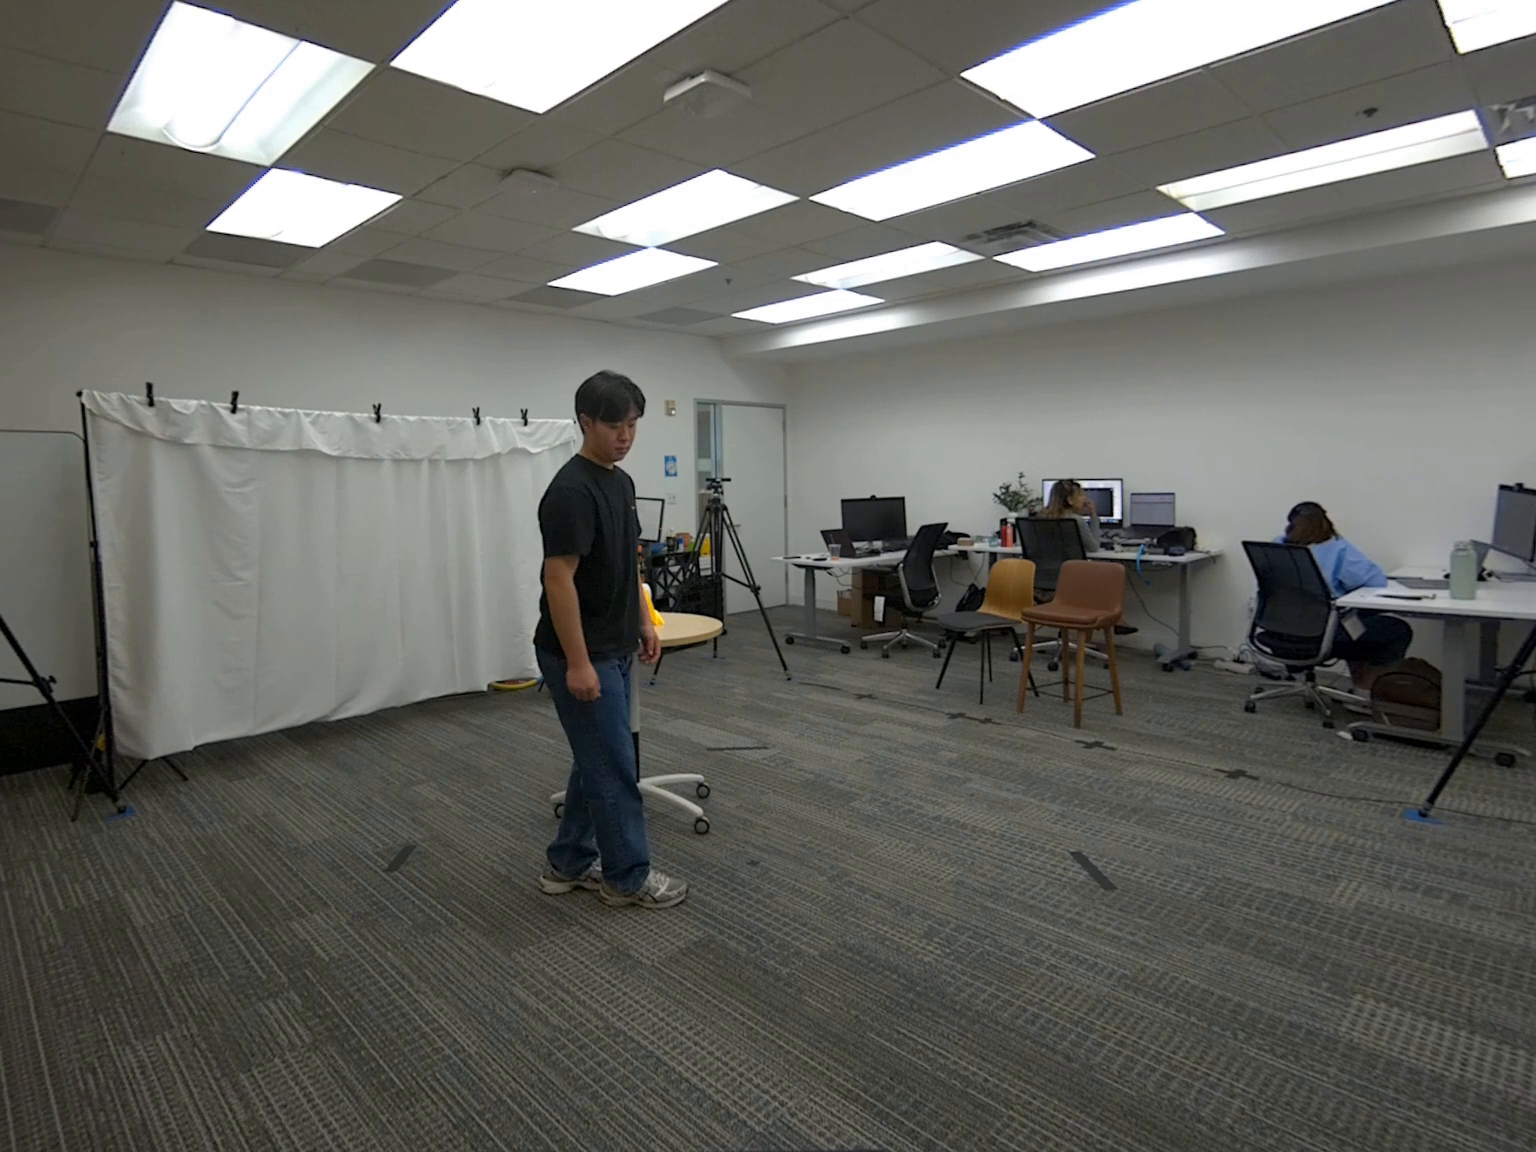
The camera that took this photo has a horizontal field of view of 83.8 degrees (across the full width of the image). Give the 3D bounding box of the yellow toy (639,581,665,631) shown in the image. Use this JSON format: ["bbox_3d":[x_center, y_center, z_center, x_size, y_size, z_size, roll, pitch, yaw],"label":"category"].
[{"bbox_3d":[-0.541,0.091,3.564,0.198,0.230,0.200,2,6,31],"label":"yellow toy"}]
